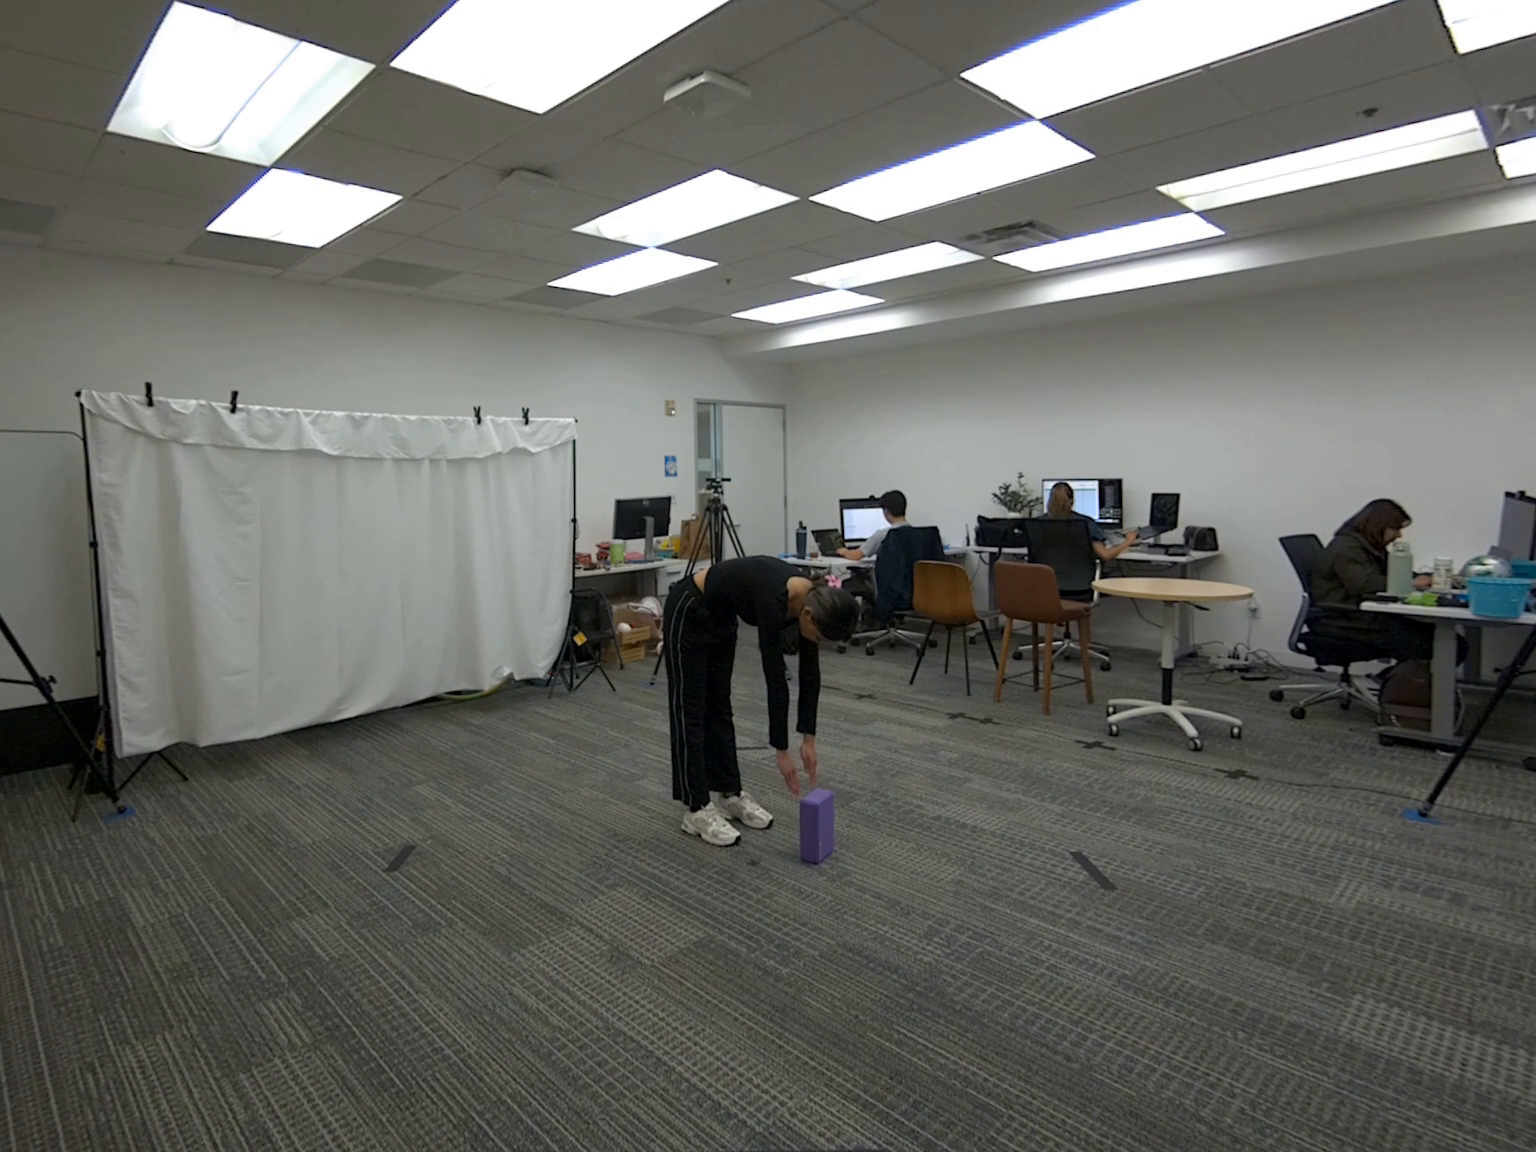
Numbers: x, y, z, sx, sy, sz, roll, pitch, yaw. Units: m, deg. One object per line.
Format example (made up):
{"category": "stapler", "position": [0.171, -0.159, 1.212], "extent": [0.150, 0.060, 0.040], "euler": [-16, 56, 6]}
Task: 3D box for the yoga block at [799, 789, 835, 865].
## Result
{"category": "yoga block", "position": [0.183, 0.918, 3.148], "extent": [0.078, 0.229, 0.146], "euler": [0, 3, 28]}
